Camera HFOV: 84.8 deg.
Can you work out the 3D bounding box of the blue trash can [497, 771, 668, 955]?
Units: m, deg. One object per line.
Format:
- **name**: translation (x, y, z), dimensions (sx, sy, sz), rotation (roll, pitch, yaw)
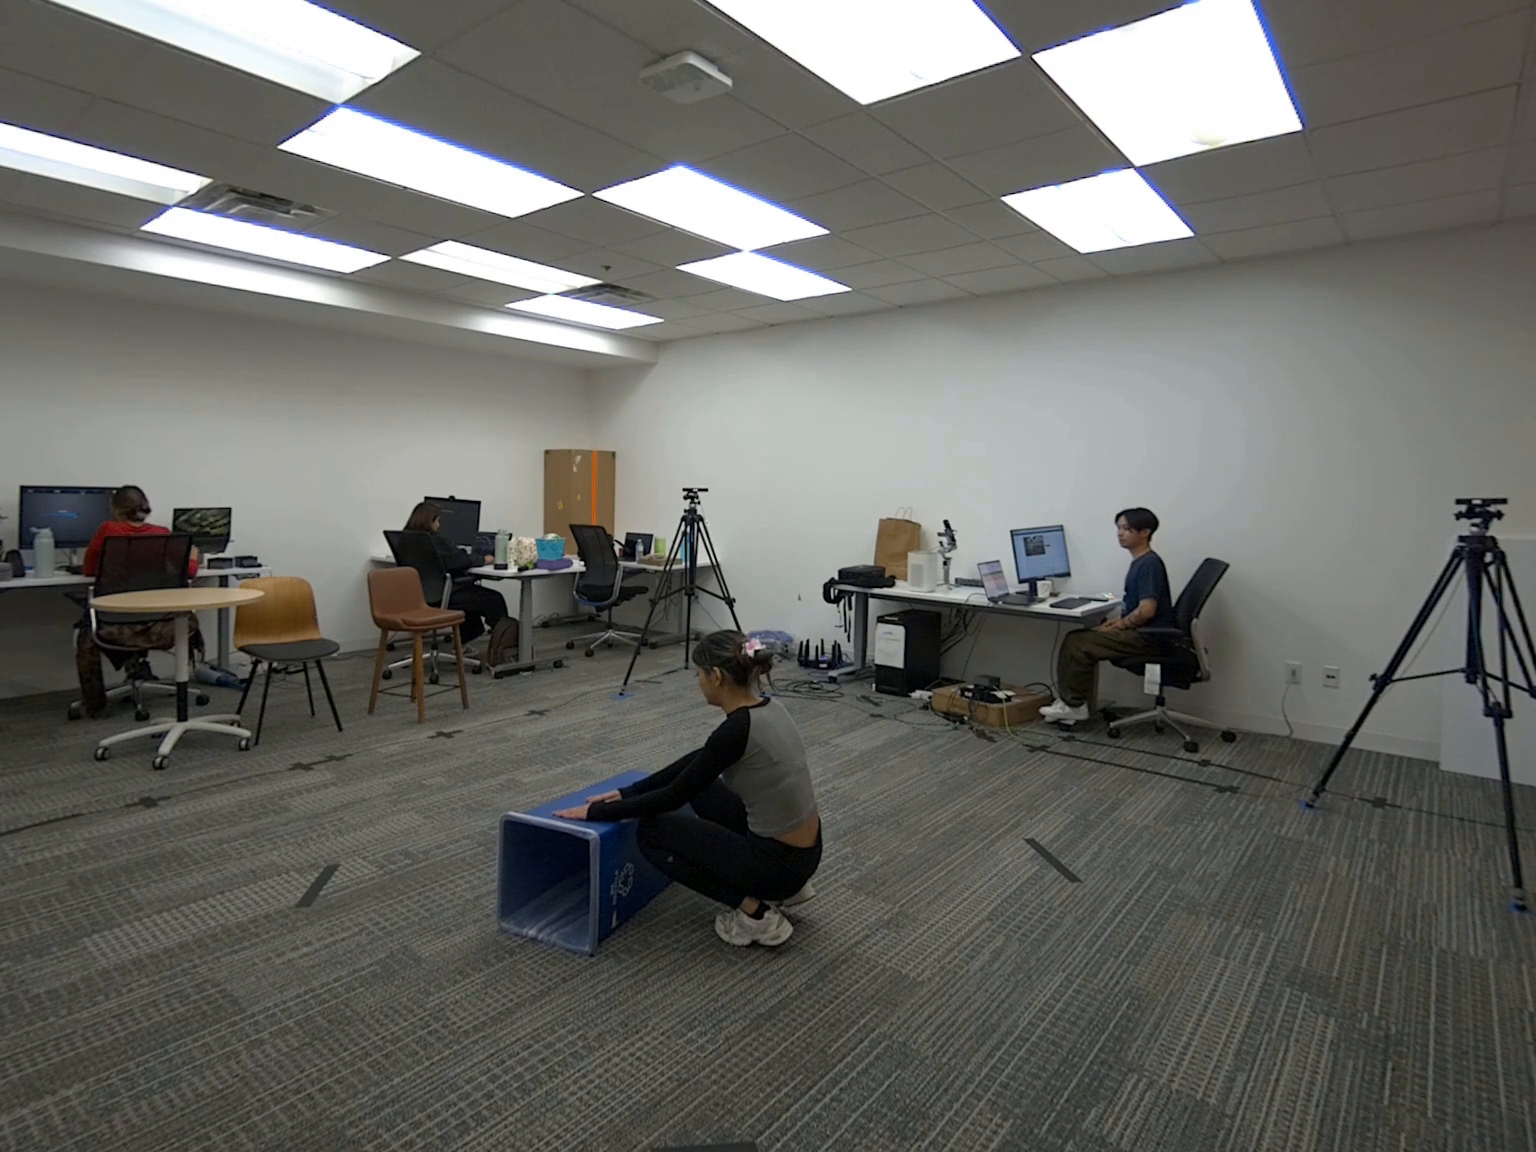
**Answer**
- **blue trash can**: translation (-0.548, 0.915, 2.901), dimensions (0.384, 0.377, 0.697), rotation (2, 3, 24)
